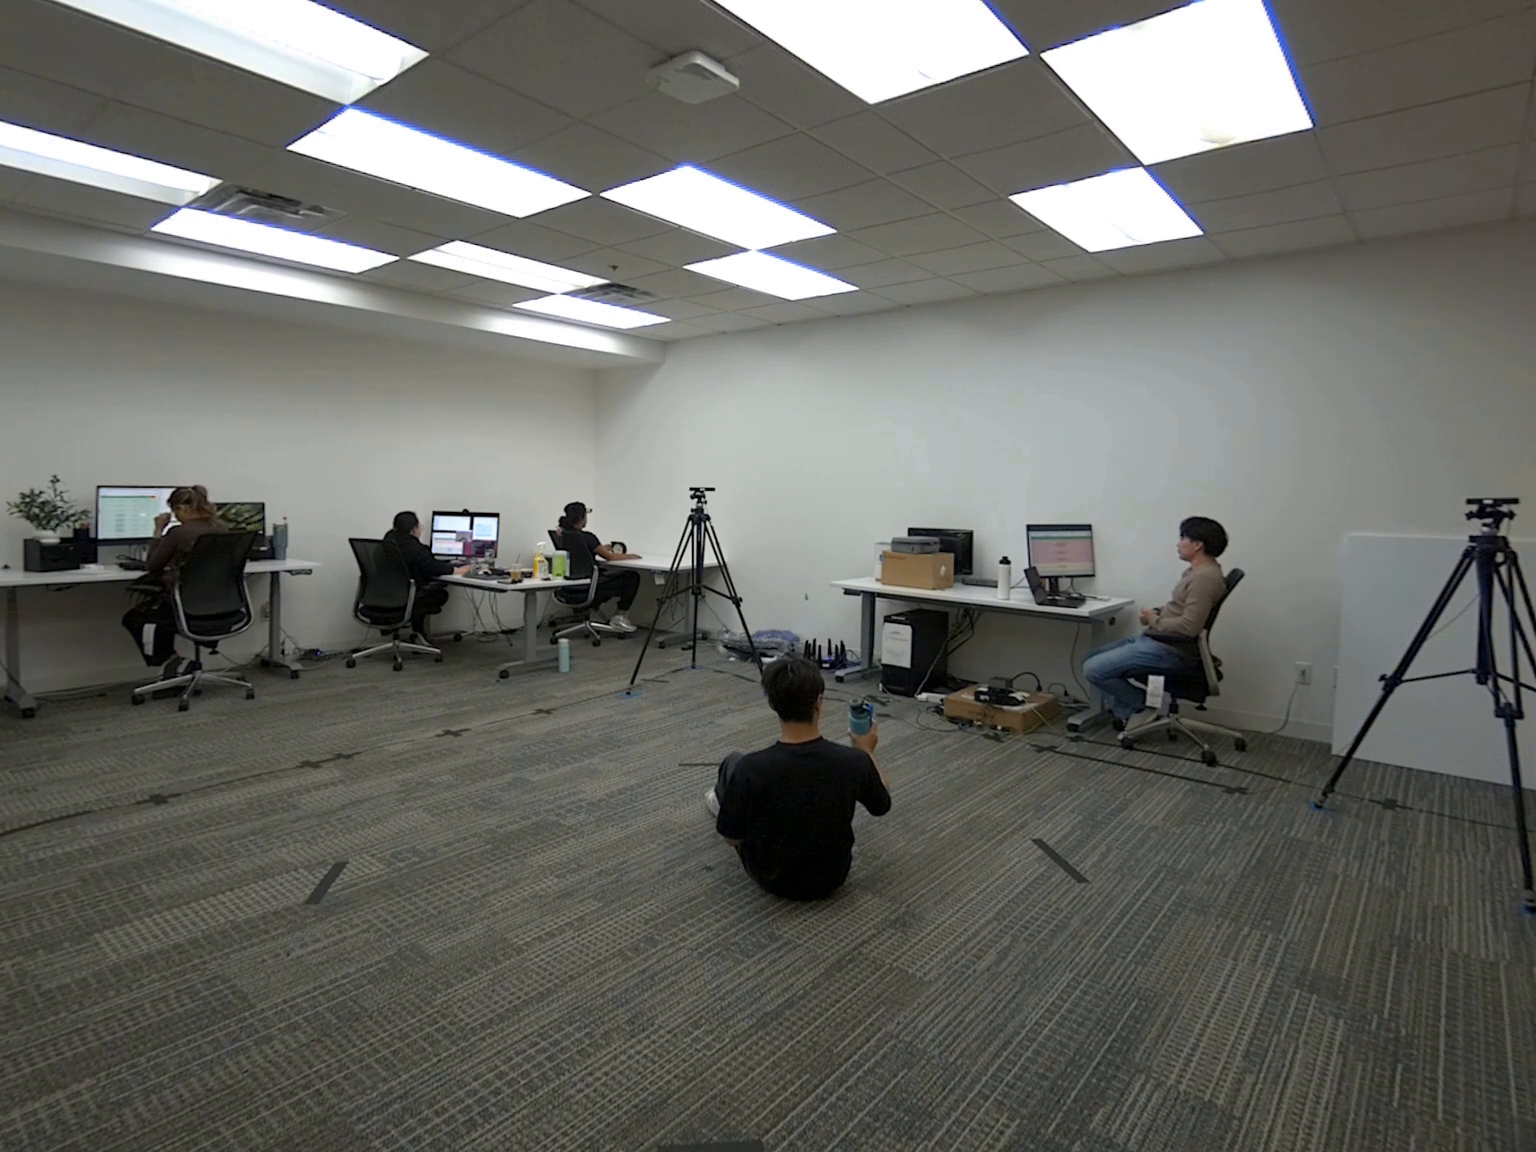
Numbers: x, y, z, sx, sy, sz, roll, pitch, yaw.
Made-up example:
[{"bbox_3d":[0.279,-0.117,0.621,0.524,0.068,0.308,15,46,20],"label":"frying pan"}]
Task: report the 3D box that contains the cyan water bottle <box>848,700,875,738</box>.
[{"bbox_3d":[0.358,0.596,3.323,0.092,0.276,0.094,-4,26,0],"label":"cyan water bottle"}]
